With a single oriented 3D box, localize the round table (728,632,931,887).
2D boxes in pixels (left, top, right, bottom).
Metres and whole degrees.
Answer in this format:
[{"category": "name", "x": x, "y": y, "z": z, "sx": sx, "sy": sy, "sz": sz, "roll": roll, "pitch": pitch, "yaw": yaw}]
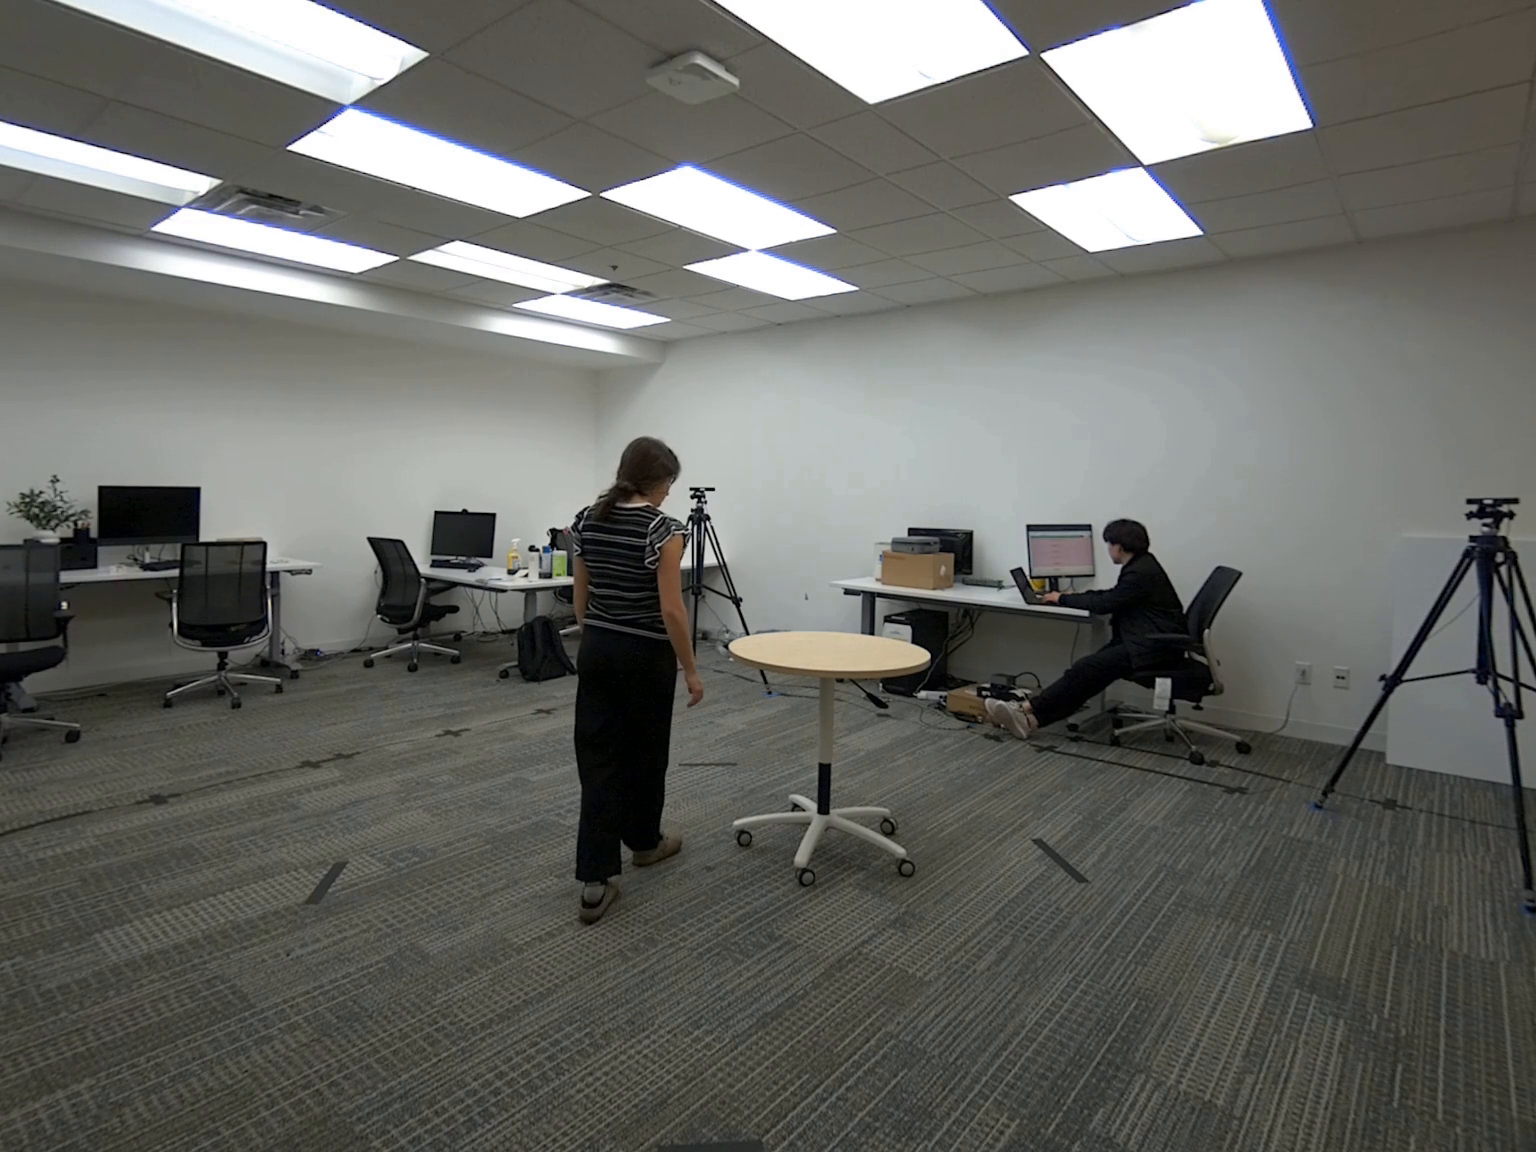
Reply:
[{"category": "round table", "x": 0.213, "y": 0.670, "z": 3.295, "sx": 0.763, "sy": 0.791, "sz": 0.768, "roll": 1, "pitch": 5, "yaw": -2}]
